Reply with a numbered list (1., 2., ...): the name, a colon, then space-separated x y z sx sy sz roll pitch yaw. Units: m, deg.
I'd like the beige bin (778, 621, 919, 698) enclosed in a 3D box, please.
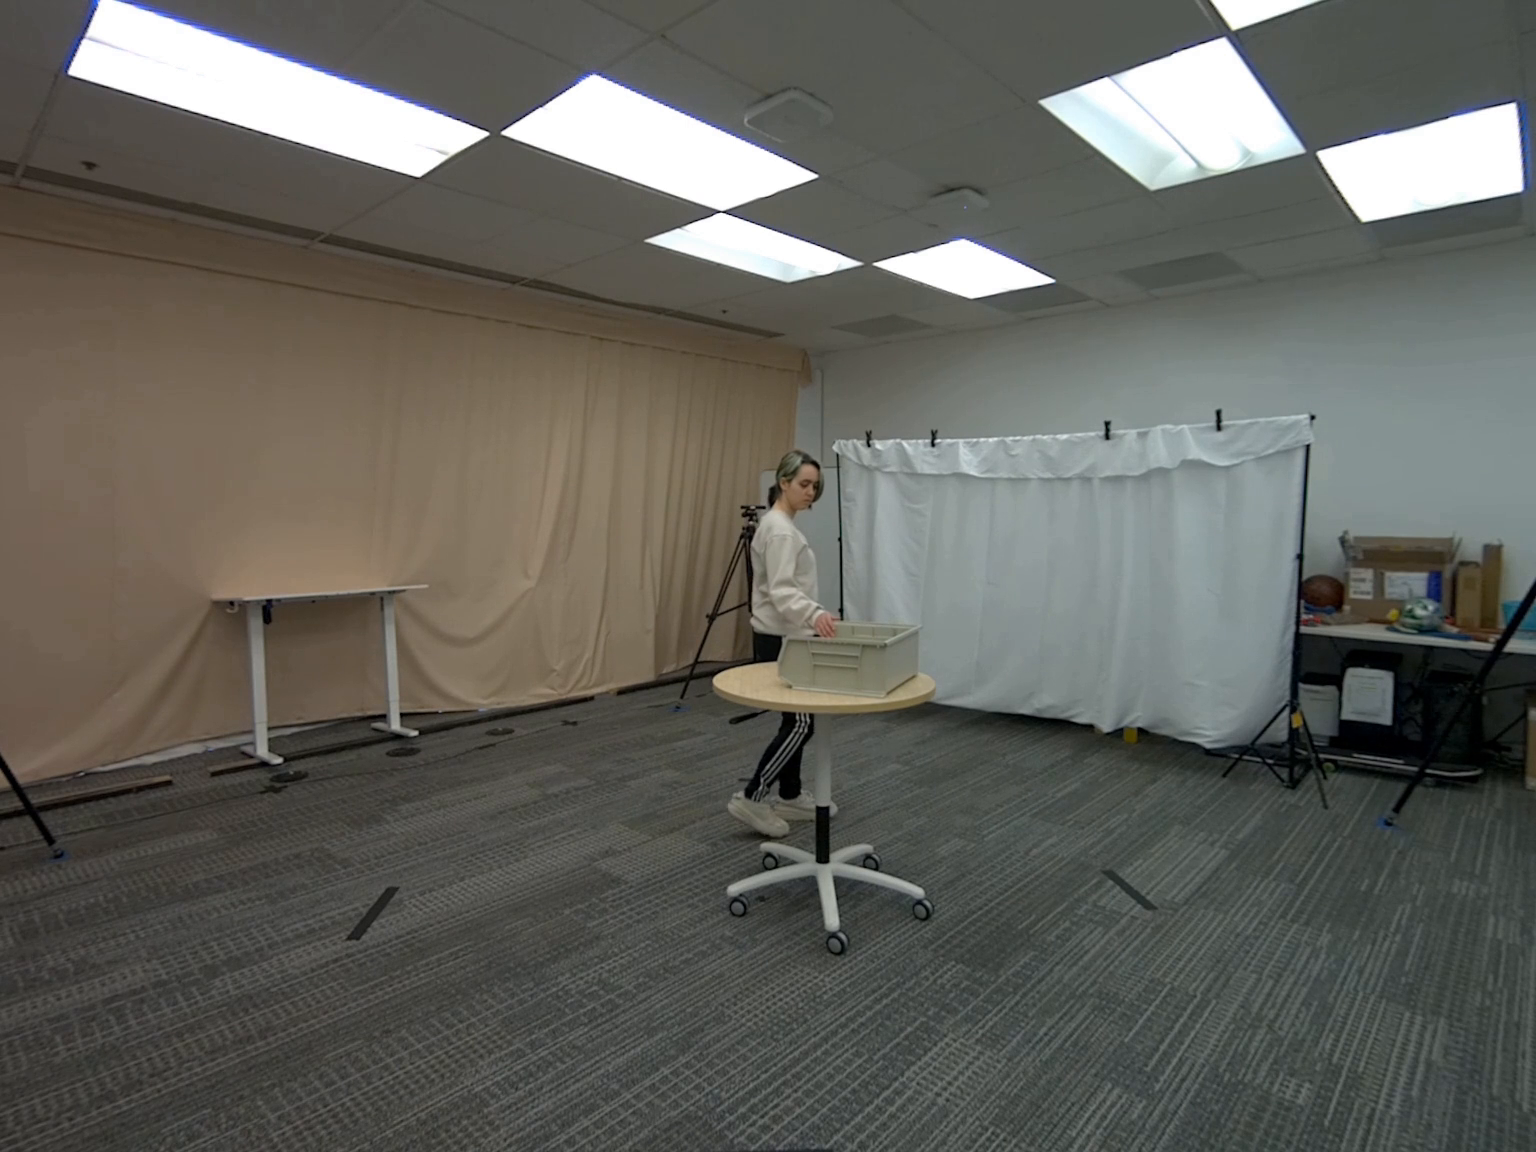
1. beige bin: 0.296 0.273 2.886 0.387 0.188 0.412 3 4 25
